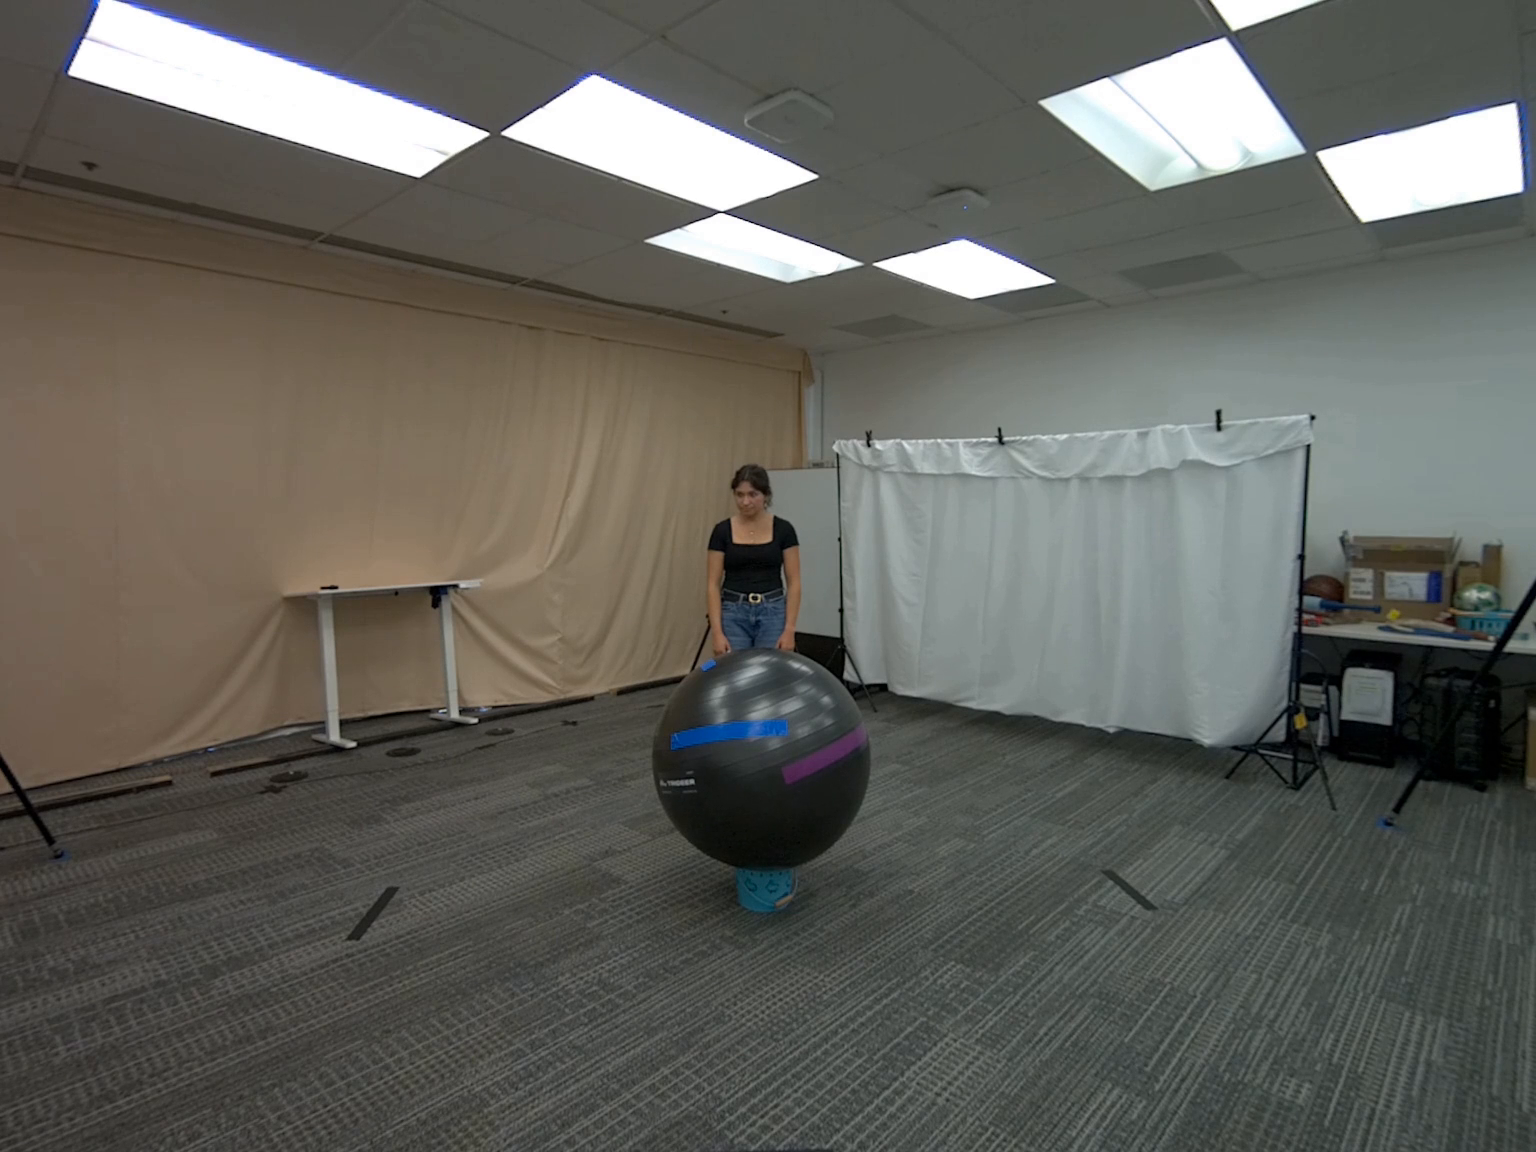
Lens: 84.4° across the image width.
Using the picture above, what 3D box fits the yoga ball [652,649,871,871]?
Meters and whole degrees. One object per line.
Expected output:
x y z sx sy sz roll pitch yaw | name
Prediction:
-0.022 0.625 2.958 0.757 0.756 0.760 0 4 -2 | yoga ball
